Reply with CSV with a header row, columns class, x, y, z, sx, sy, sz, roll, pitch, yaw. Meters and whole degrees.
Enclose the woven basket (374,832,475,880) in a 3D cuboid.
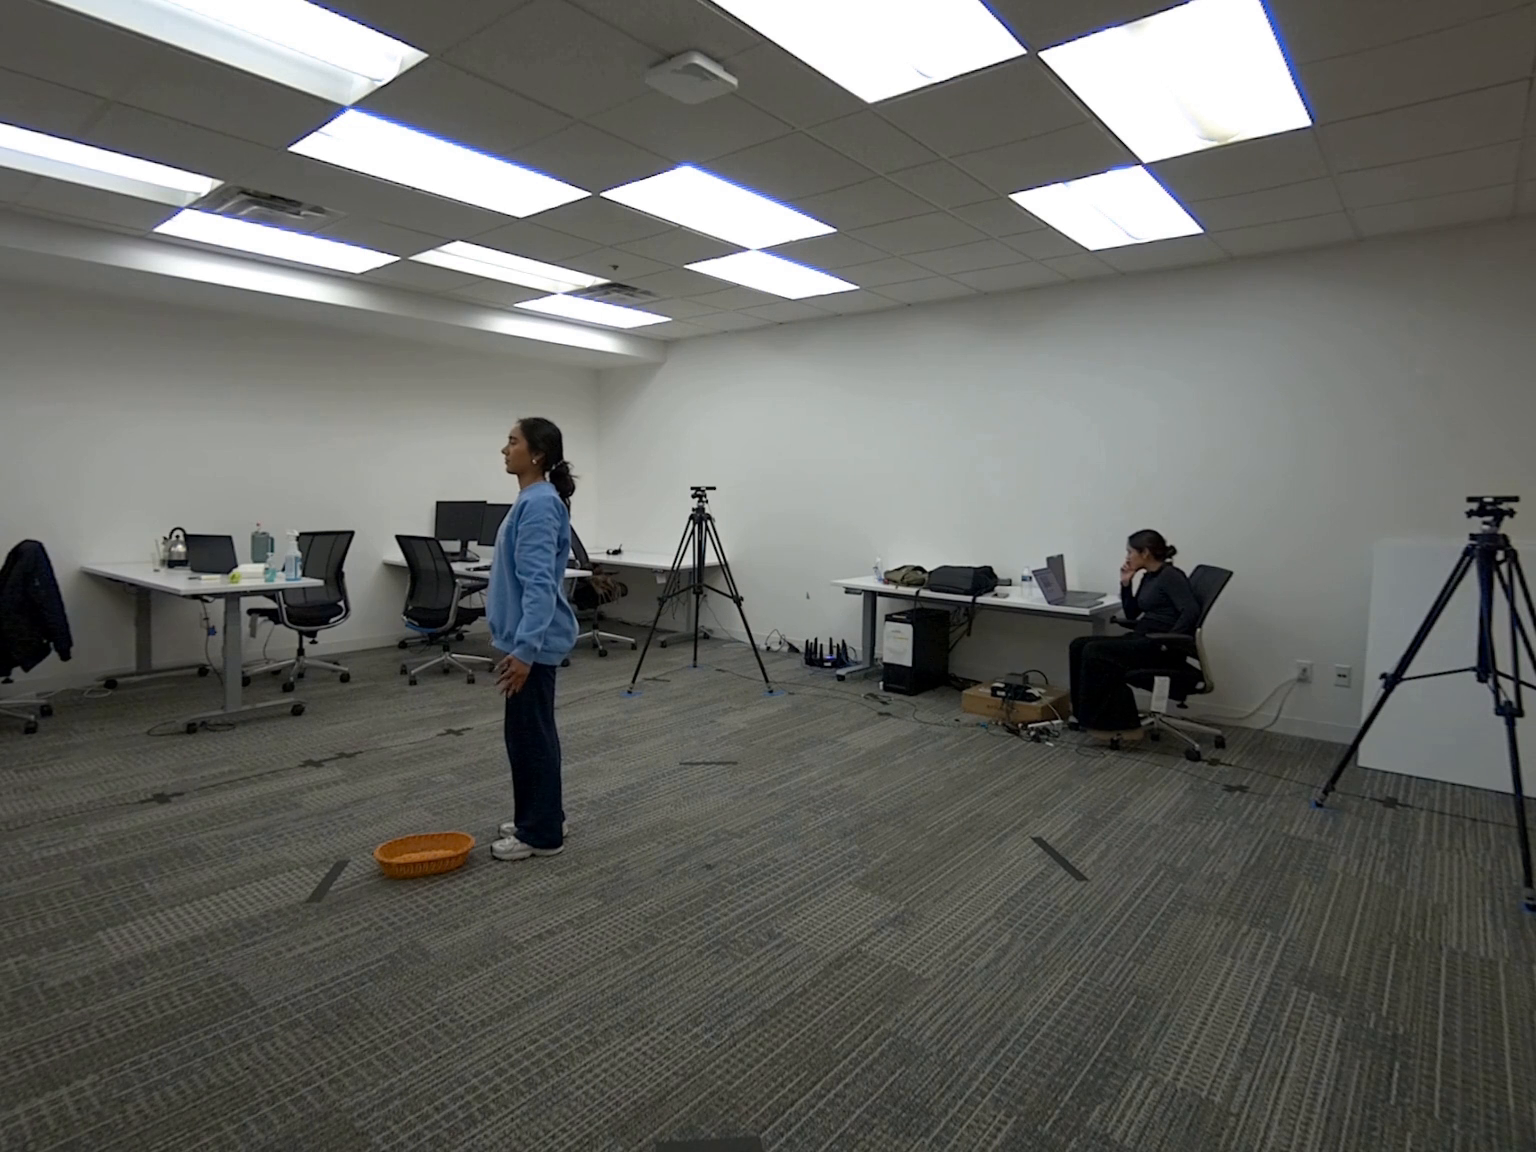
class,x,y,z,sx,sy,sz,roll,pitch,yaw
woven basket,-1.263,1.016,3.101,0.343,0.073,0.258,-2,5,-20
